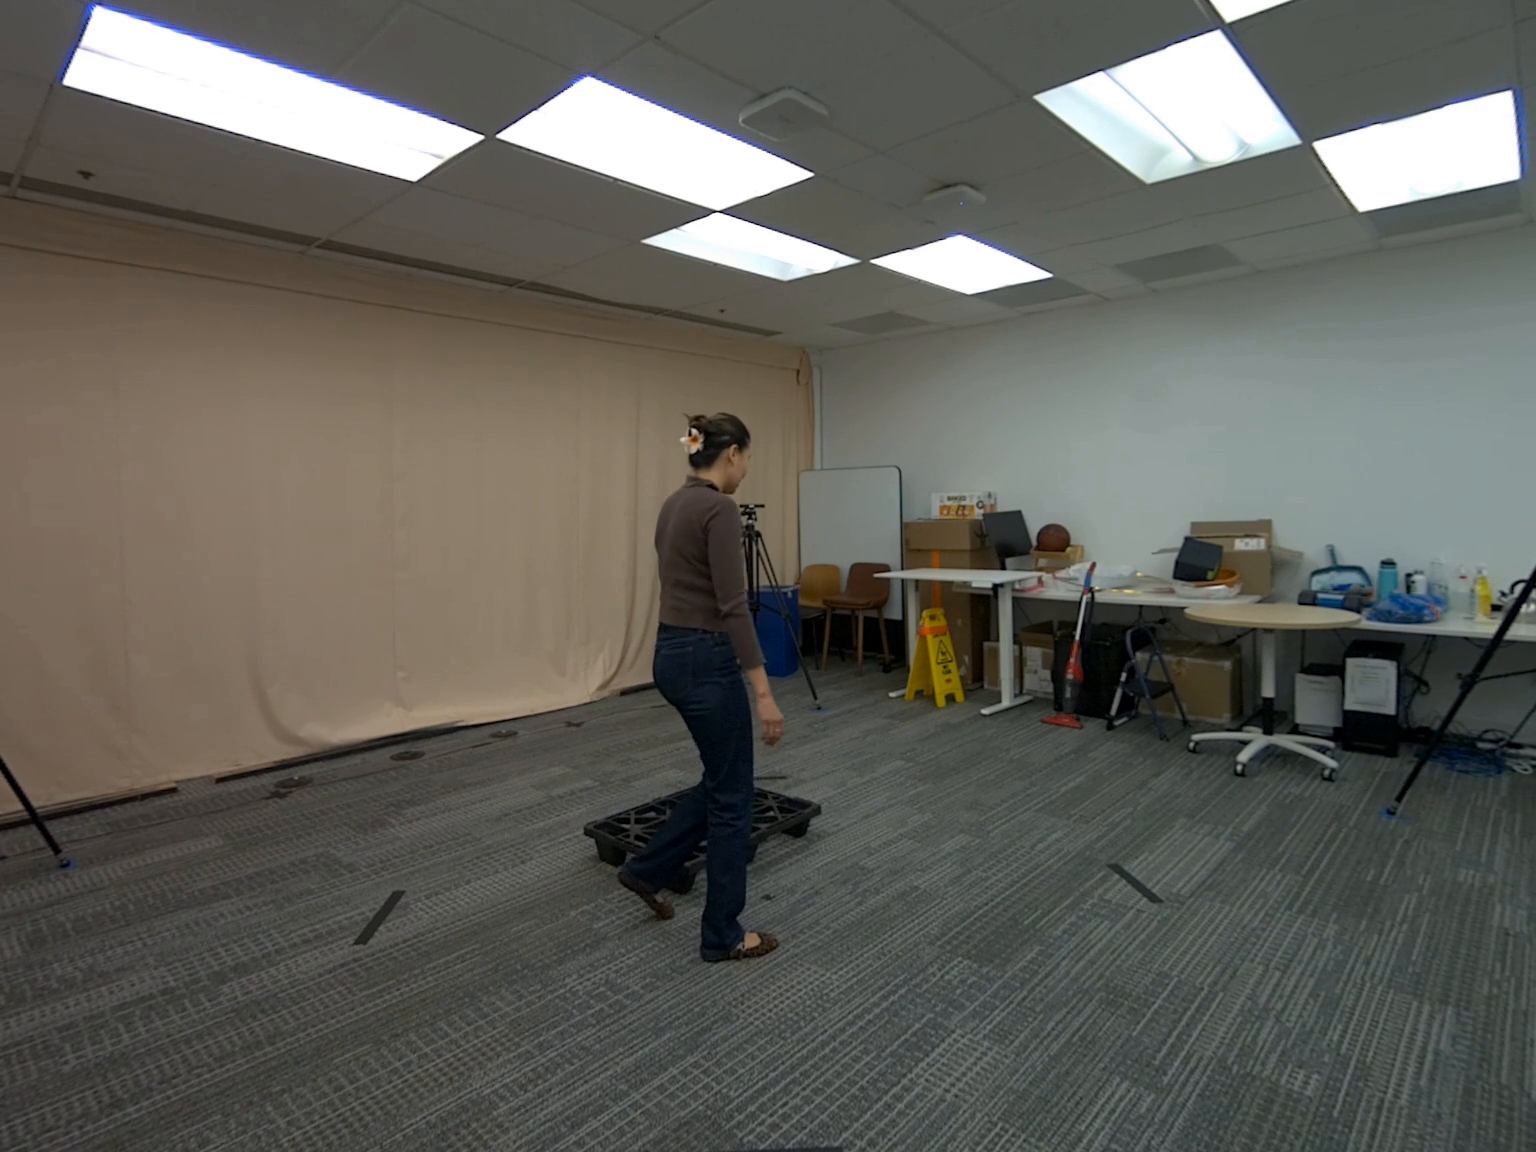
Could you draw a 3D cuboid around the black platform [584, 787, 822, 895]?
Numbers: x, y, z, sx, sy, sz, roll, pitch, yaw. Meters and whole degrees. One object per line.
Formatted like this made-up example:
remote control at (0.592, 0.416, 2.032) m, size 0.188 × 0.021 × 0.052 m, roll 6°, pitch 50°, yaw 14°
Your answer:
black platform at (-0.245, 1.040, 3.428) m, size 0.625 × 0.143 × 0.781 m, roll 3°, pitch 7°, yaw 42°
